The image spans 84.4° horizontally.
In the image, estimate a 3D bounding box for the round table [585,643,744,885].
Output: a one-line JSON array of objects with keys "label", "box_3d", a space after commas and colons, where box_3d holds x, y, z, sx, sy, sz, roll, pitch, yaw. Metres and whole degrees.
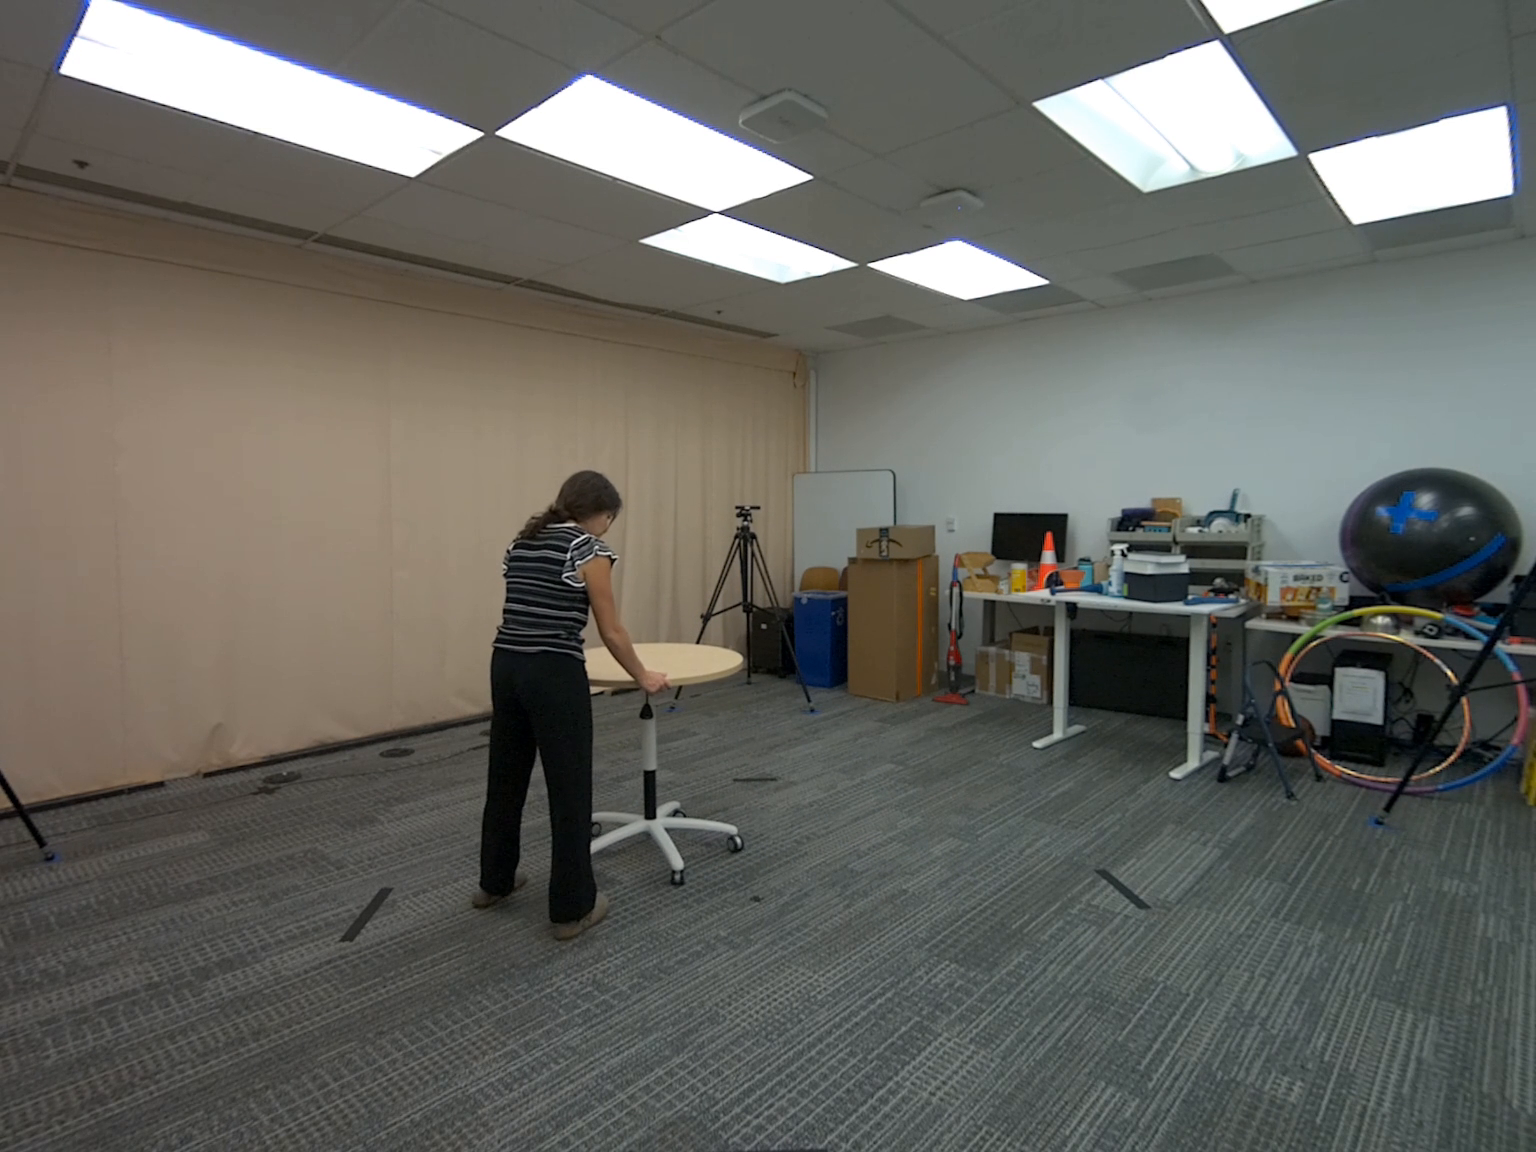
[{"label": "round table", "box_3d": [-0.466, 0.726, 3.374, 0.763, 0.792, 0.767, -1, 4, -2]}]
